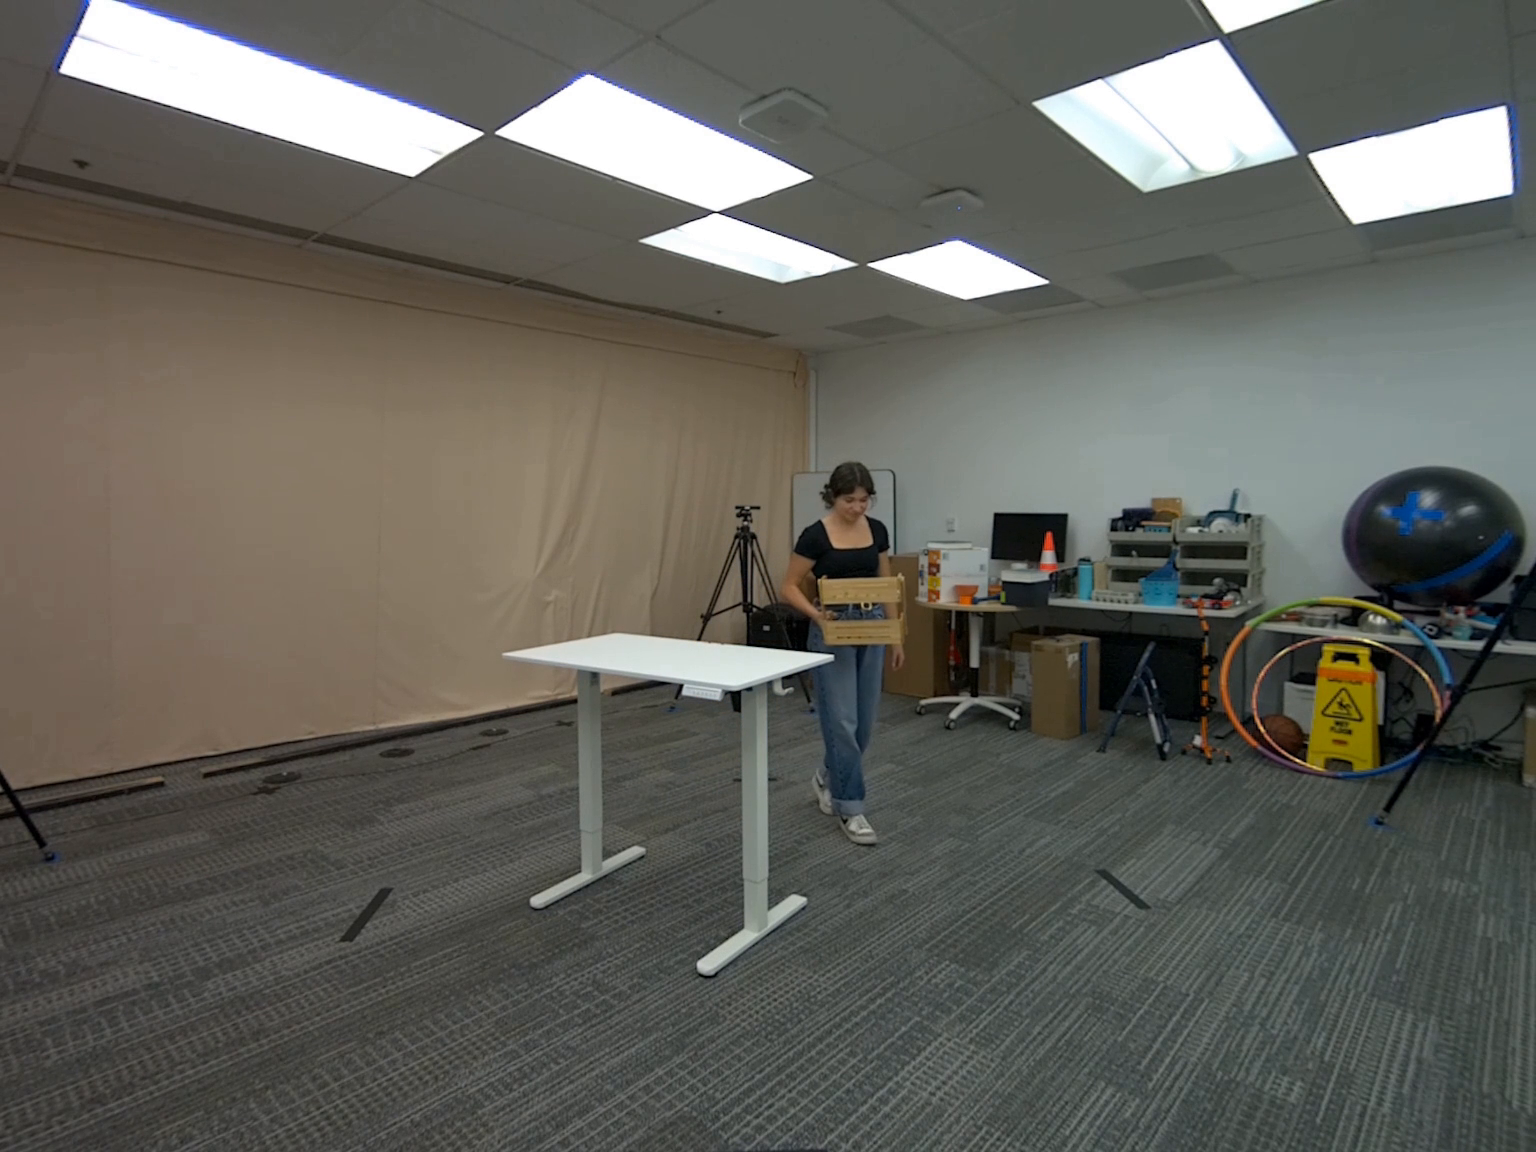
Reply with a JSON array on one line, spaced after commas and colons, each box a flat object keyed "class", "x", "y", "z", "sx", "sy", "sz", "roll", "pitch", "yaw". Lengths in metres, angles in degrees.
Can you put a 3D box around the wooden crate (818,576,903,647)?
[{"class": "wooden crate", "x": 0.381, "y": 0.121, "z": 3.325, "sx": 0.330, "sy": 0.272, "sz": 0.298, "roll": -3, "pitch": 5, "yaw": 15}]
